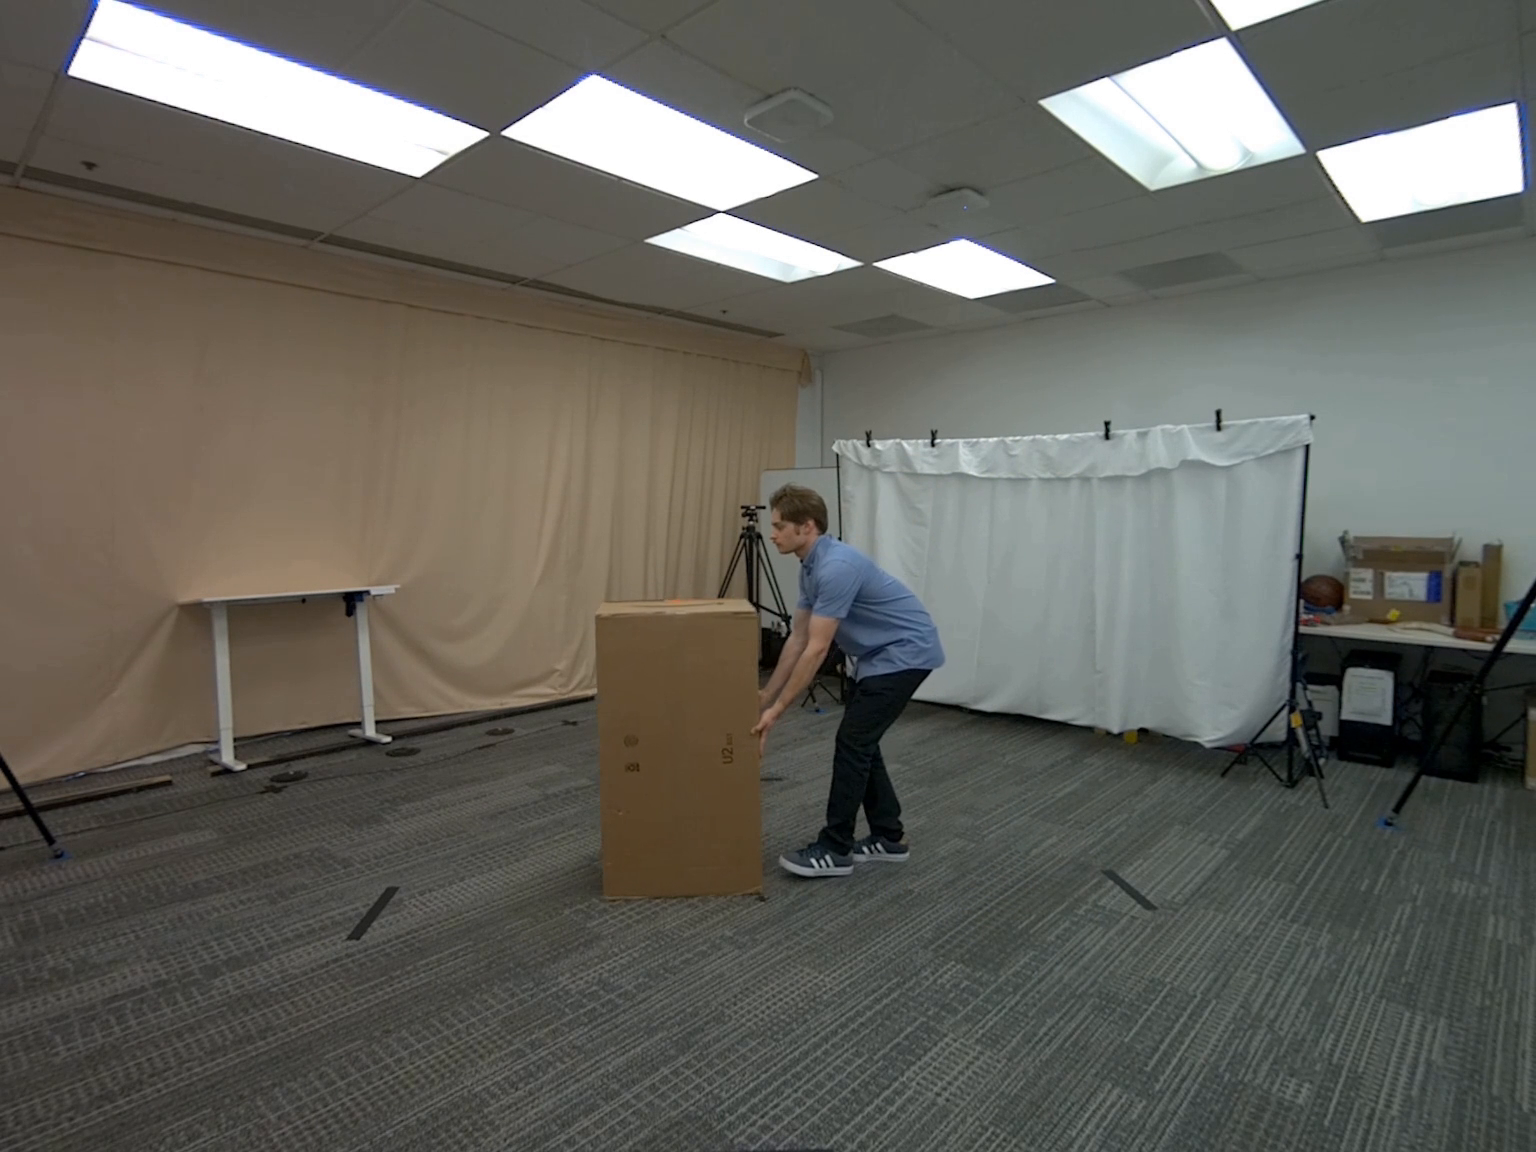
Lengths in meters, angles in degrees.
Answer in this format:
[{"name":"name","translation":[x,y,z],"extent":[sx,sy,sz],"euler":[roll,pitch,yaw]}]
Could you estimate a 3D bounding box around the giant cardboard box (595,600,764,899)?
[{"name":"giant cardboard box","translation":[-0.337,0.622,3.190],"extent":[0.575,1.024,0.429],"euler":[-1,3,-4]}]
